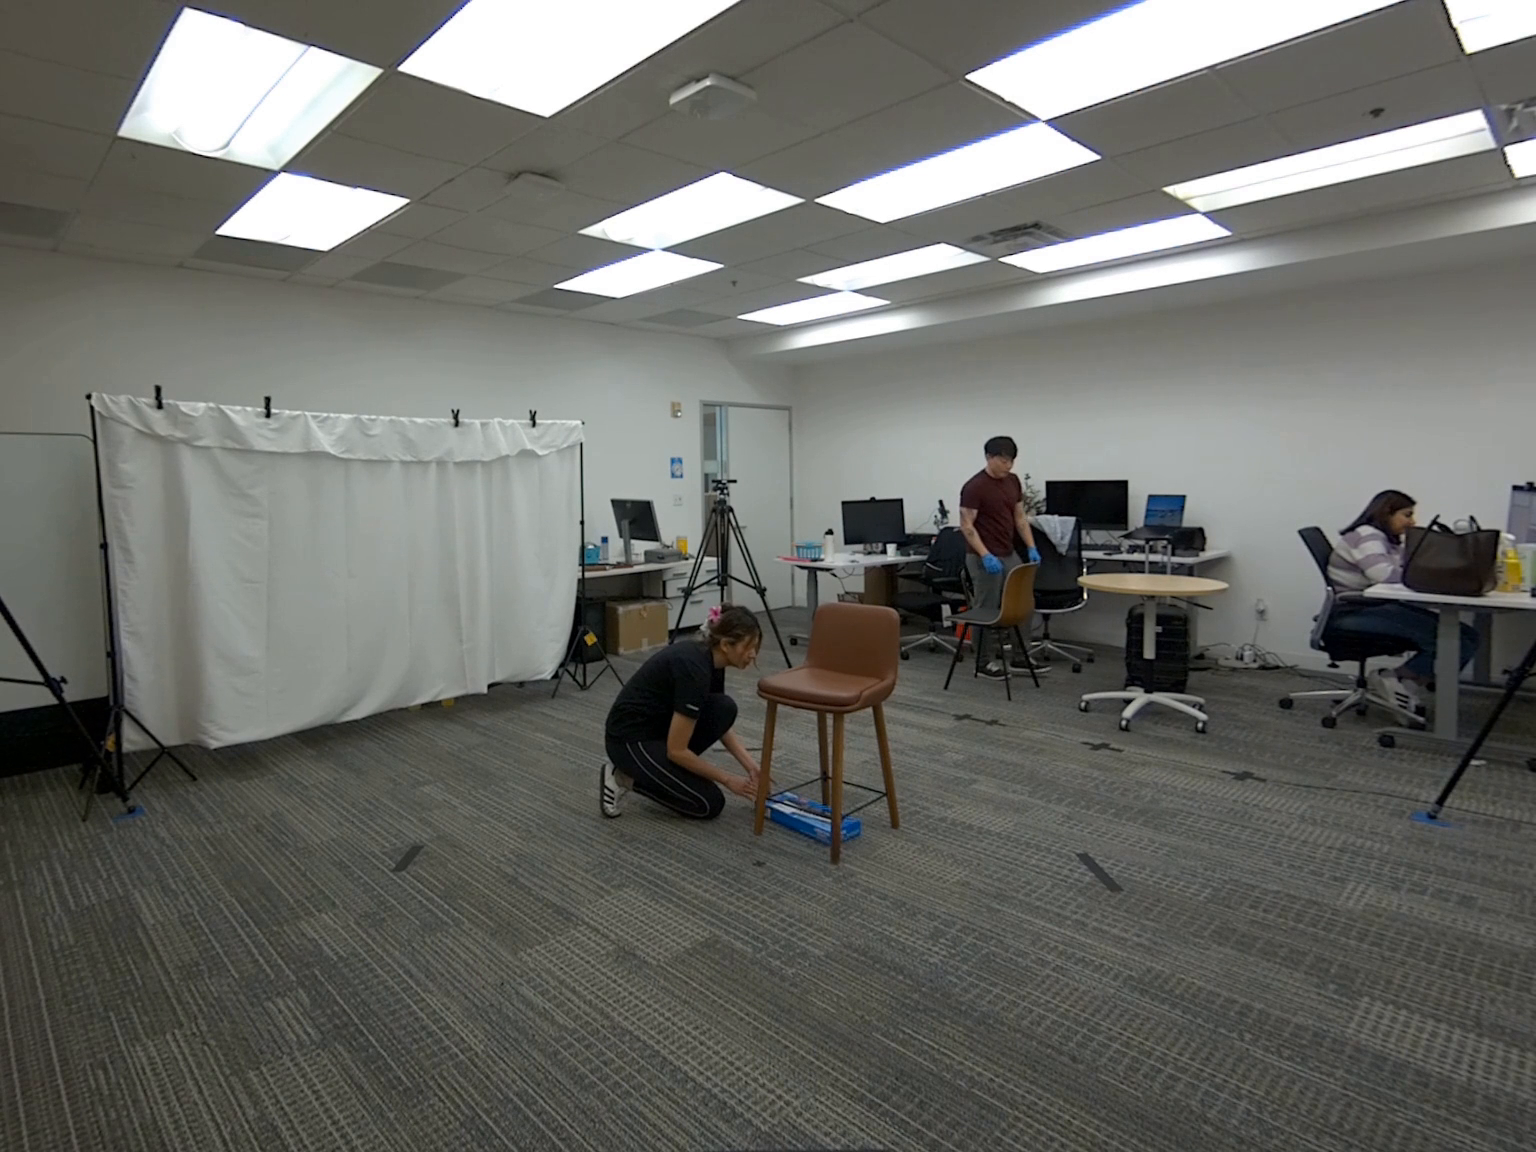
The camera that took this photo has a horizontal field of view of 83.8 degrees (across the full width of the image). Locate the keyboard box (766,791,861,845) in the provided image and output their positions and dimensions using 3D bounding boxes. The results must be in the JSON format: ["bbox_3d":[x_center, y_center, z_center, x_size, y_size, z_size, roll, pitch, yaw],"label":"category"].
[{"bbox_3d":[0.150,0.973,3.454,0.171,0.059,0.450,-6,8,-41],"label":"keyboard box"}]
